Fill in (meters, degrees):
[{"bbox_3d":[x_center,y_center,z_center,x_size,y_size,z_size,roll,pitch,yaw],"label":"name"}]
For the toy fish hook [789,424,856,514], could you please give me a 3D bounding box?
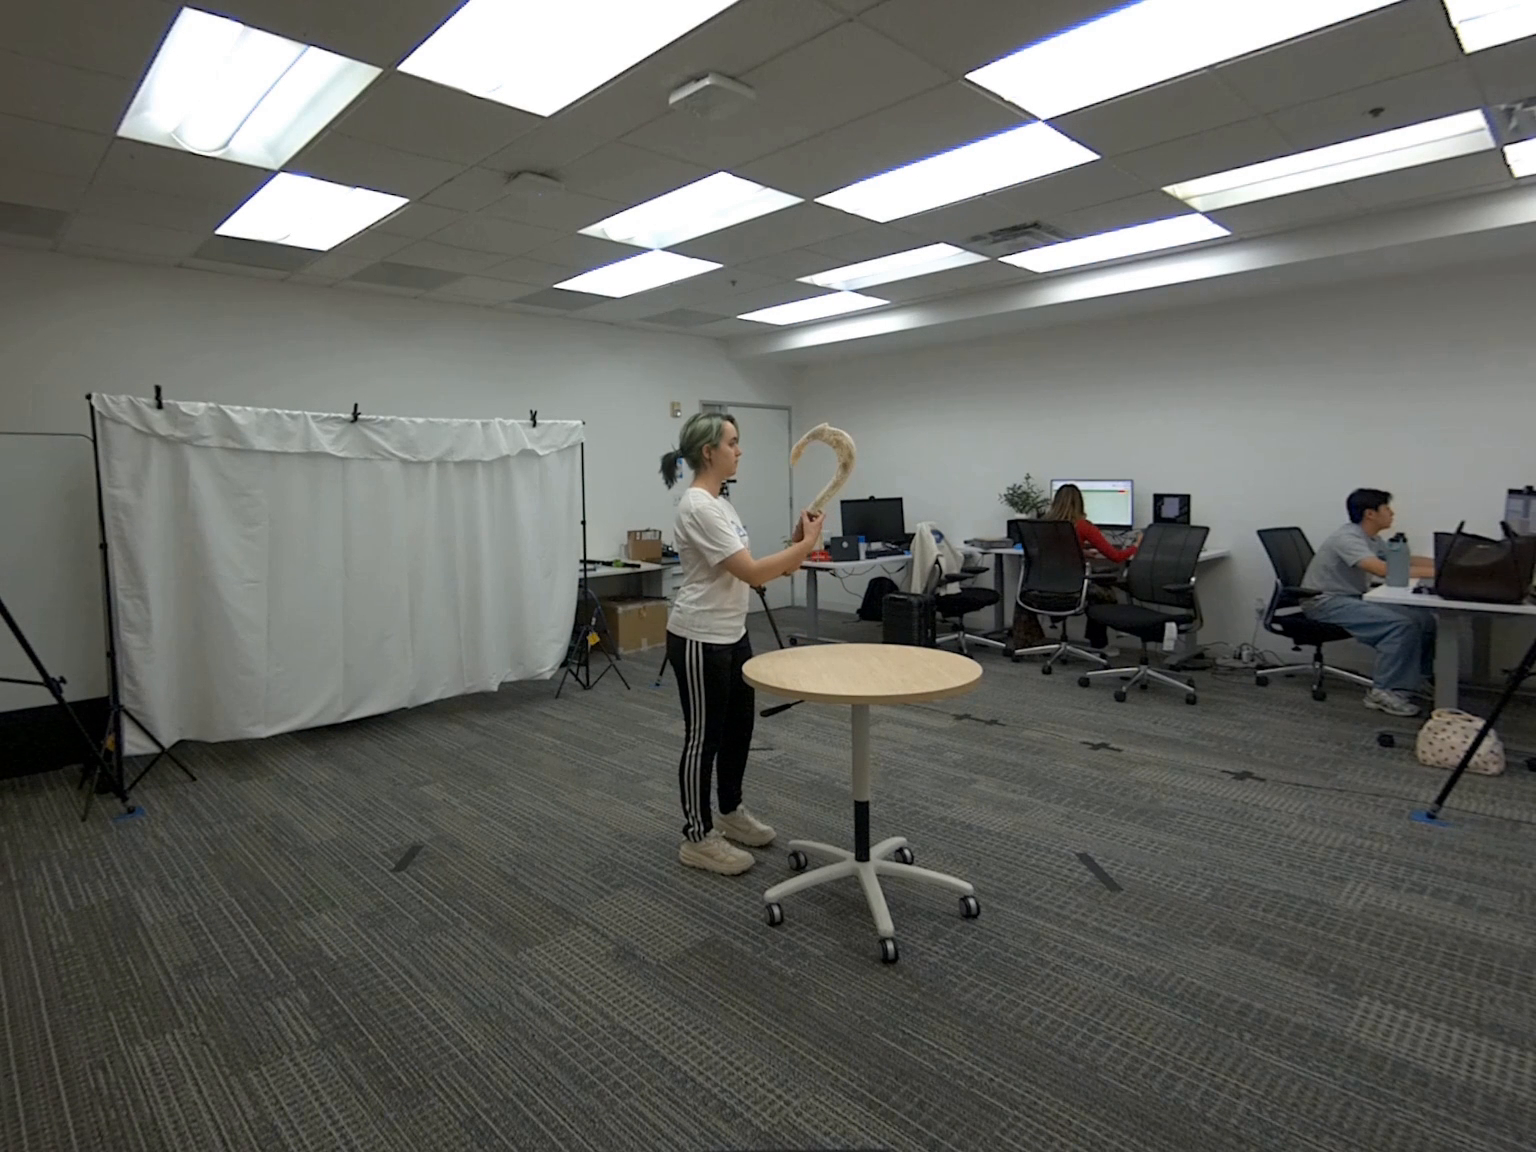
[{"bbox_3d":[0.140,-0.291,3.023,0.228,0.504,0.048,29,11,12],"label":"toy fish hook"}]
